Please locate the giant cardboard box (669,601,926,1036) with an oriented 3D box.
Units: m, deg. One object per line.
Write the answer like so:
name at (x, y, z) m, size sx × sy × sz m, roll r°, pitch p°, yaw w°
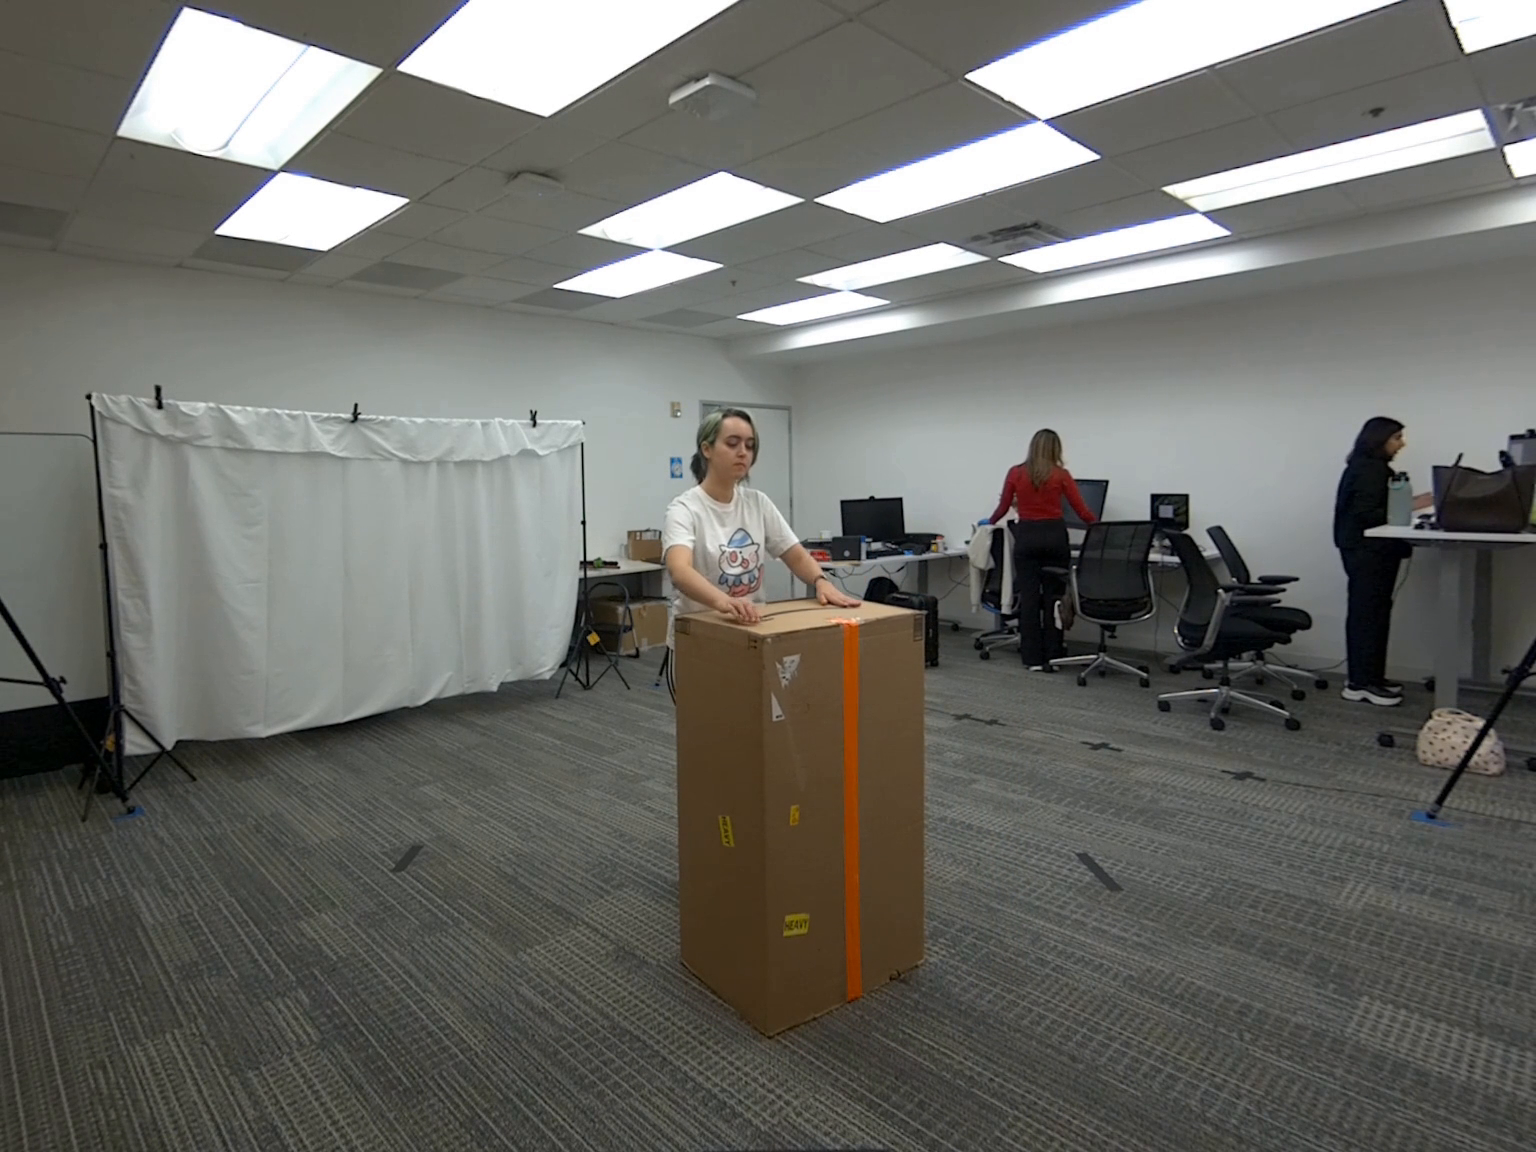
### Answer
giant cardboard box at (0.097, 0.616, 2.434) m, size 0.569 × 1.024 × 0.460 m, roll -4°, pitch 4°, yaw -37°
